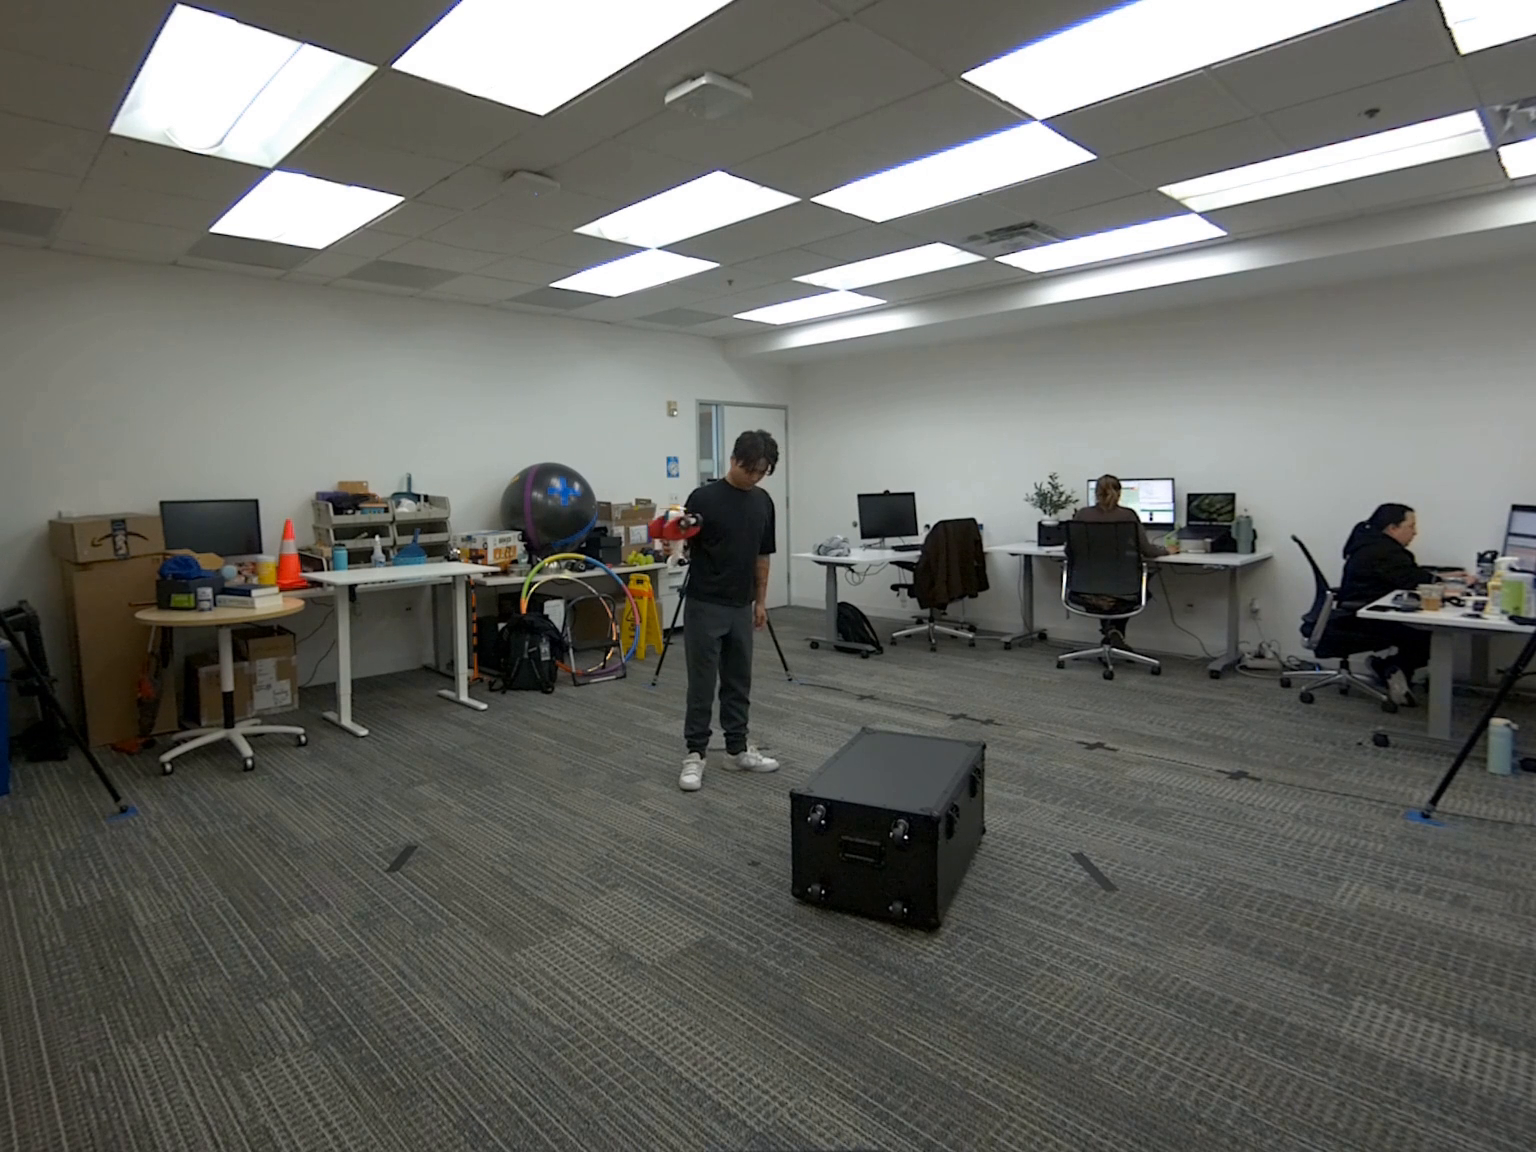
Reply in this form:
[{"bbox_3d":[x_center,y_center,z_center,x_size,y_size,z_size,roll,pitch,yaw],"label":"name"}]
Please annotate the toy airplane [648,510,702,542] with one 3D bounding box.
[{"bbox_3d":[-0.390,-0.161,3.583,0.161,0.260,0.243,23,-7,26],"label":"toy airplane"}]
